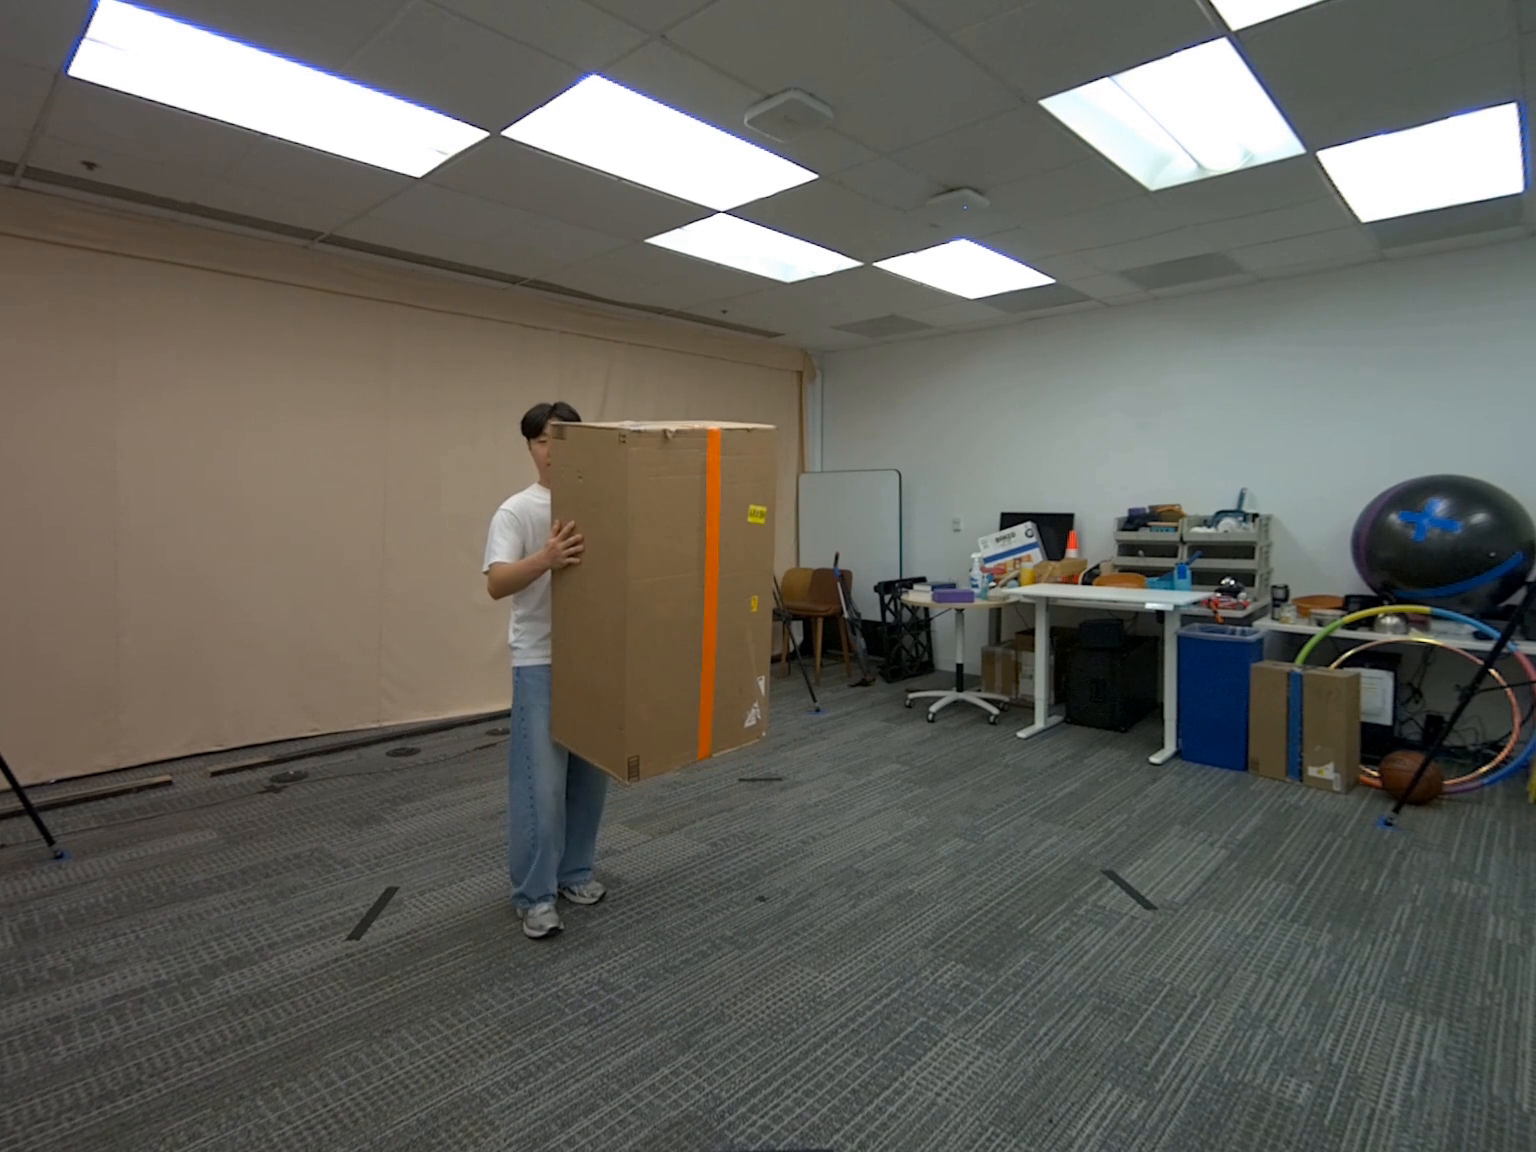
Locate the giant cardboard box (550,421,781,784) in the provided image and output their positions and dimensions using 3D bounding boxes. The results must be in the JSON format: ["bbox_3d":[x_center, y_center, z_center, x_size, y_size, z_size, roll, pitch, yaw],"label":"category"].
[{"bbox_3d":[-0.330,0.040,2.660,0.561,1.019,0.441,-7,14,-43],"label":"giant cardboard box"}]
